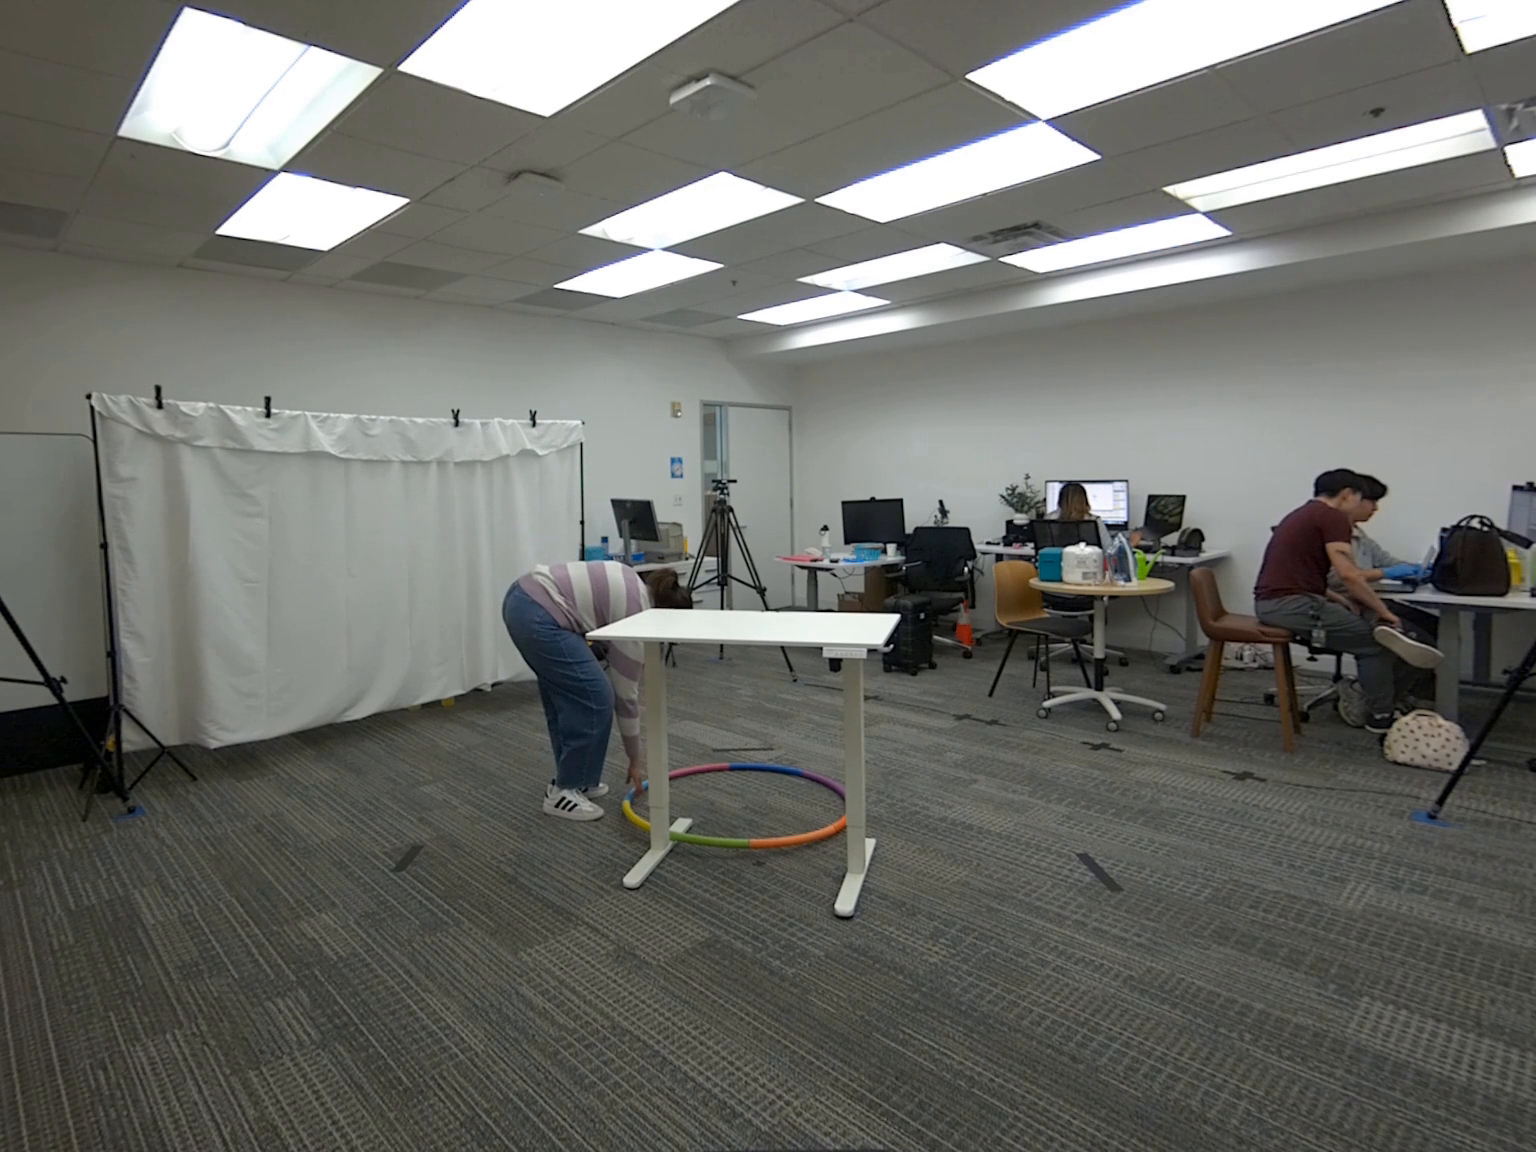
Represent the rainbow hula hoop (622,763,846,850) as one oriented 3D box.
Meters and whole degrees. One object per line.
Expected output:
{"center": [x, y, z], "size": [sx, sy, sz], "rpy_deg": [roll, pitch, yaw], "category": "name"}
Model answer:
{"center": [-0.125, 0.955, 3.663], "size": [0.978, 0.035, 0.983], "rpy_deg": [0, 5, -2], "category": "rainbow hula hoop"}
